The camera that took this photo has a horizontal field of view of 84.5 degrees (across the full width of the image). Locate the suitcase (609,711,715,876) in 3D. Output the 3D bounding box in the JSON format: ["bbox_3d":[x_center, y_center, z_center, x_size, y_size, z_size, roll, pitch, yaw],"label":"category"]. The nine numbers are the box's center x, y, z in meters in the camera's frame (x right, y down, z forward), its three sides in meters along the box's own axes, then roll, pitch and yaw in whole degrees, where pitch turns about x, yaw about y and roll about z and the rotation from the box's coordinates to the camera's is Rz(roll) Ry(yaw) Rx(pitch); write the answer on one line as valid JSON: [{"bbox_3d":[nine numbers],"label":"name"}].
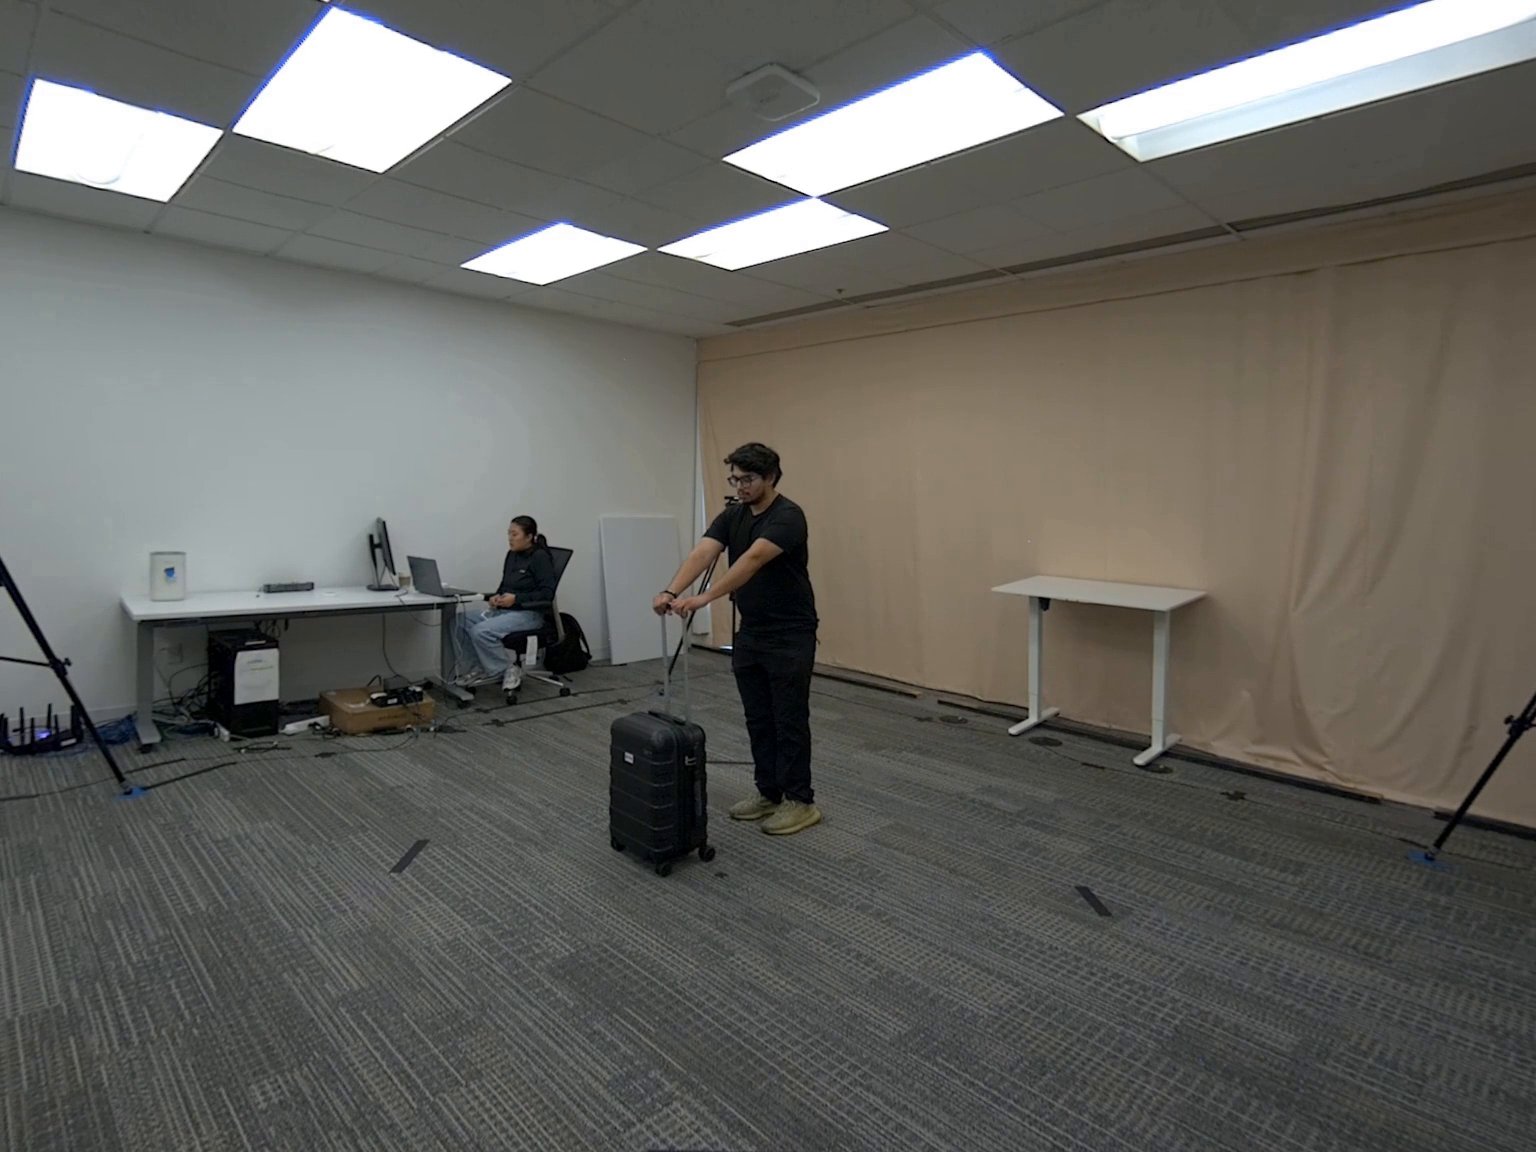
[{"bbox_3d":[-0.436,0.612,3.212,0.252,0.973,0.394,-8,9,-43],"label":"suitcase"}]
